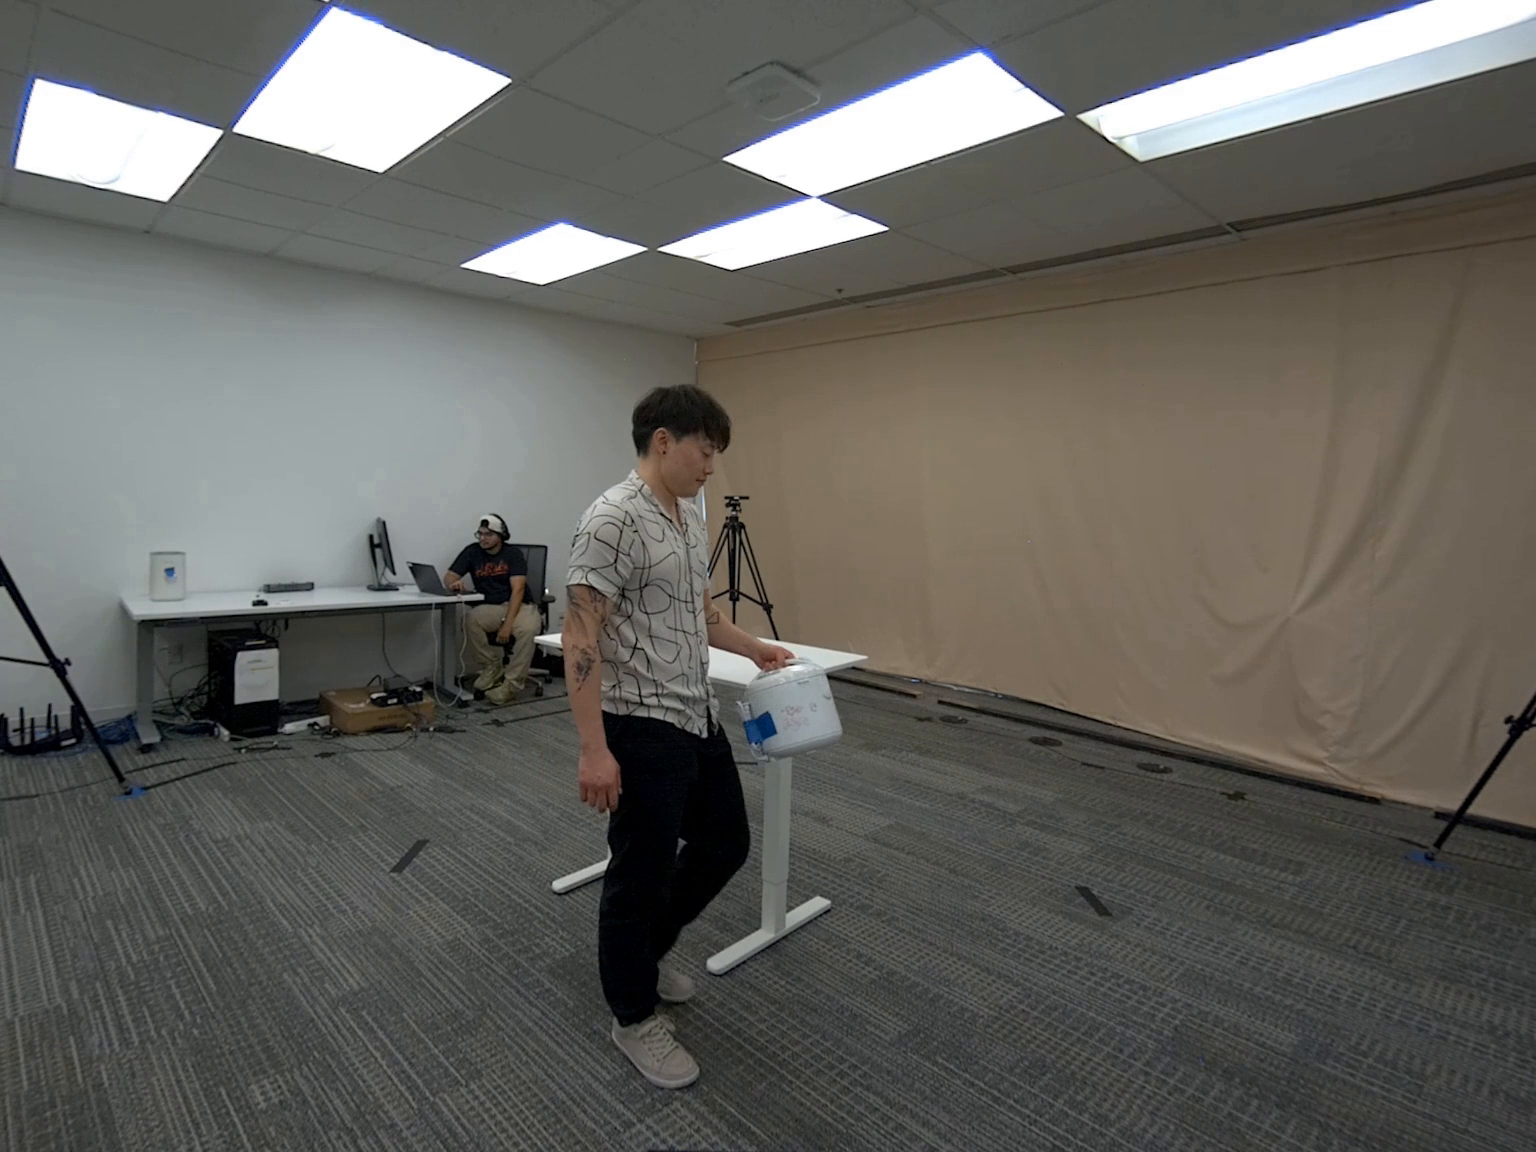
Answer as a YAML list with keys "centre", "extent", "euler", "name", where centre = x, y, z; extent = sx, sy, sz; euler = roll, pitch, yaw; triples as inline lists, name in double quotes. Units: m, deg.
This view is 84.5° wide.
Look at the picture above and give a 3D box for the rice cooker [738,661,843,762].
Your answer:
- centre: [0.047, 0.328, 2.084]
  extent: [0.223, 0.235, 0.212]
  euler: [-21, -14, 28]
  name: "rice cooker"
